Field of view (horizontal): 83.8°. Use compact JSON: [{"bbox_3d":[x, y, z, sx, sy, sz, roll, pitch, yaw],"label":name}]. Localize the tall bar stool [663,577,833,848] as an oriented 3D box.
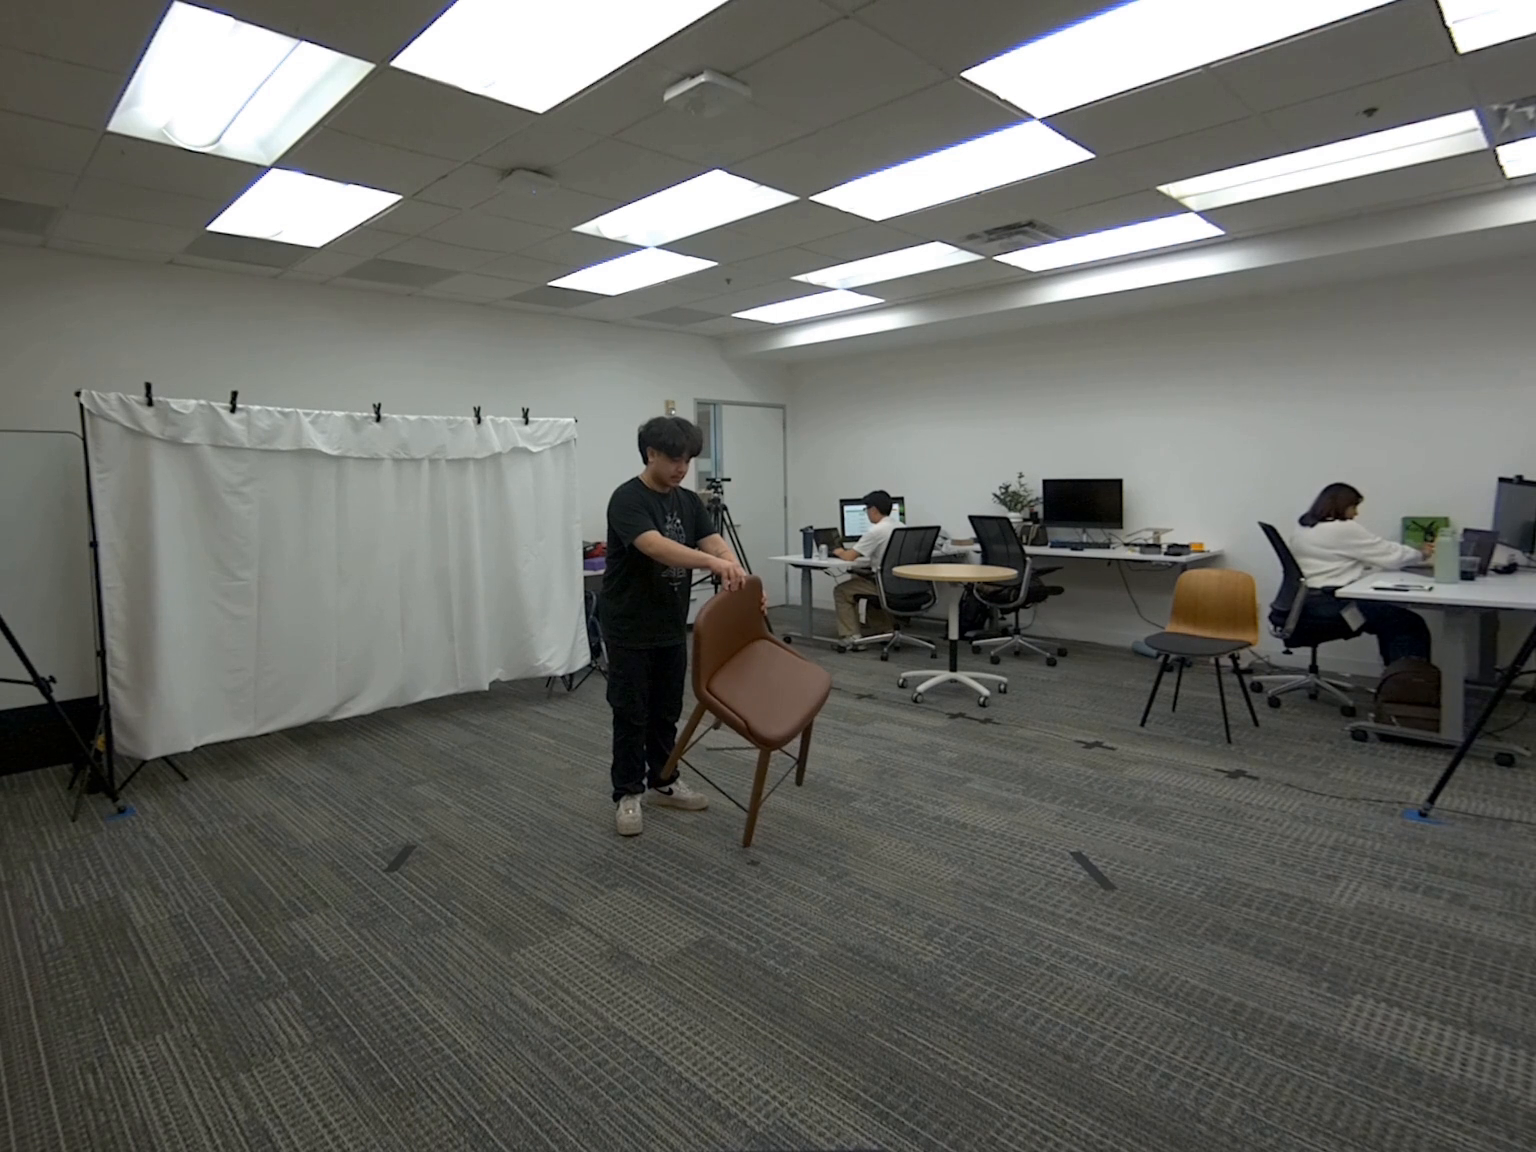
[{"bbox_3d":[-0.061,0.503,3.207,0.481,0.872,0.452,29,39,23],"label":"tall bar stool"}]
